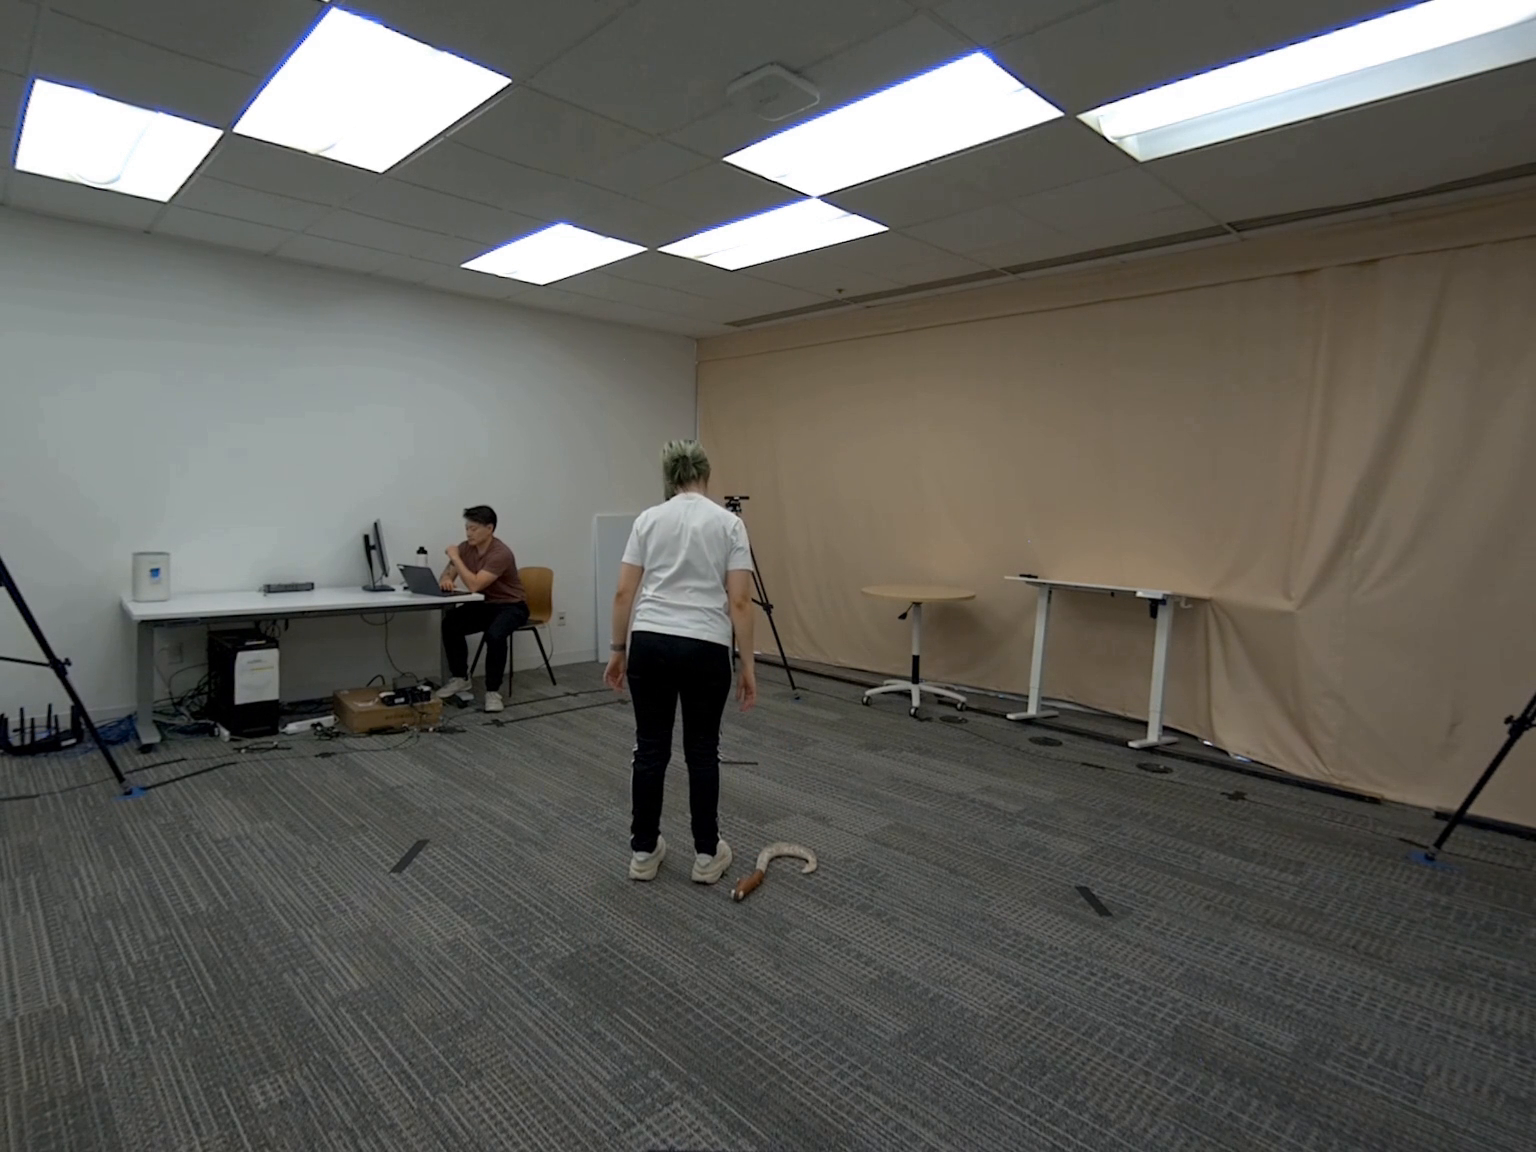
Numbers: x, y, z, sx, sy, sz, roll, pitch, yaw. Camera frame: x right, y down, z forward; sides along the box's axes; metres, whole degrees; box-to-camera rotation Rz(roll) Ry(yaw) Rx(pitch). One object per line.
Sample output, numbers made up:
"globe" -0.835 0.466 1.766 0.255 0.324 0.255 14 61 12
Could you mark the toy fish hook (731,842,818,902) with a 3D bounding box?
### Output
"toy fish hook" 0.023 1.084 3.086 0.229 0.048 0.499 2 6 23
